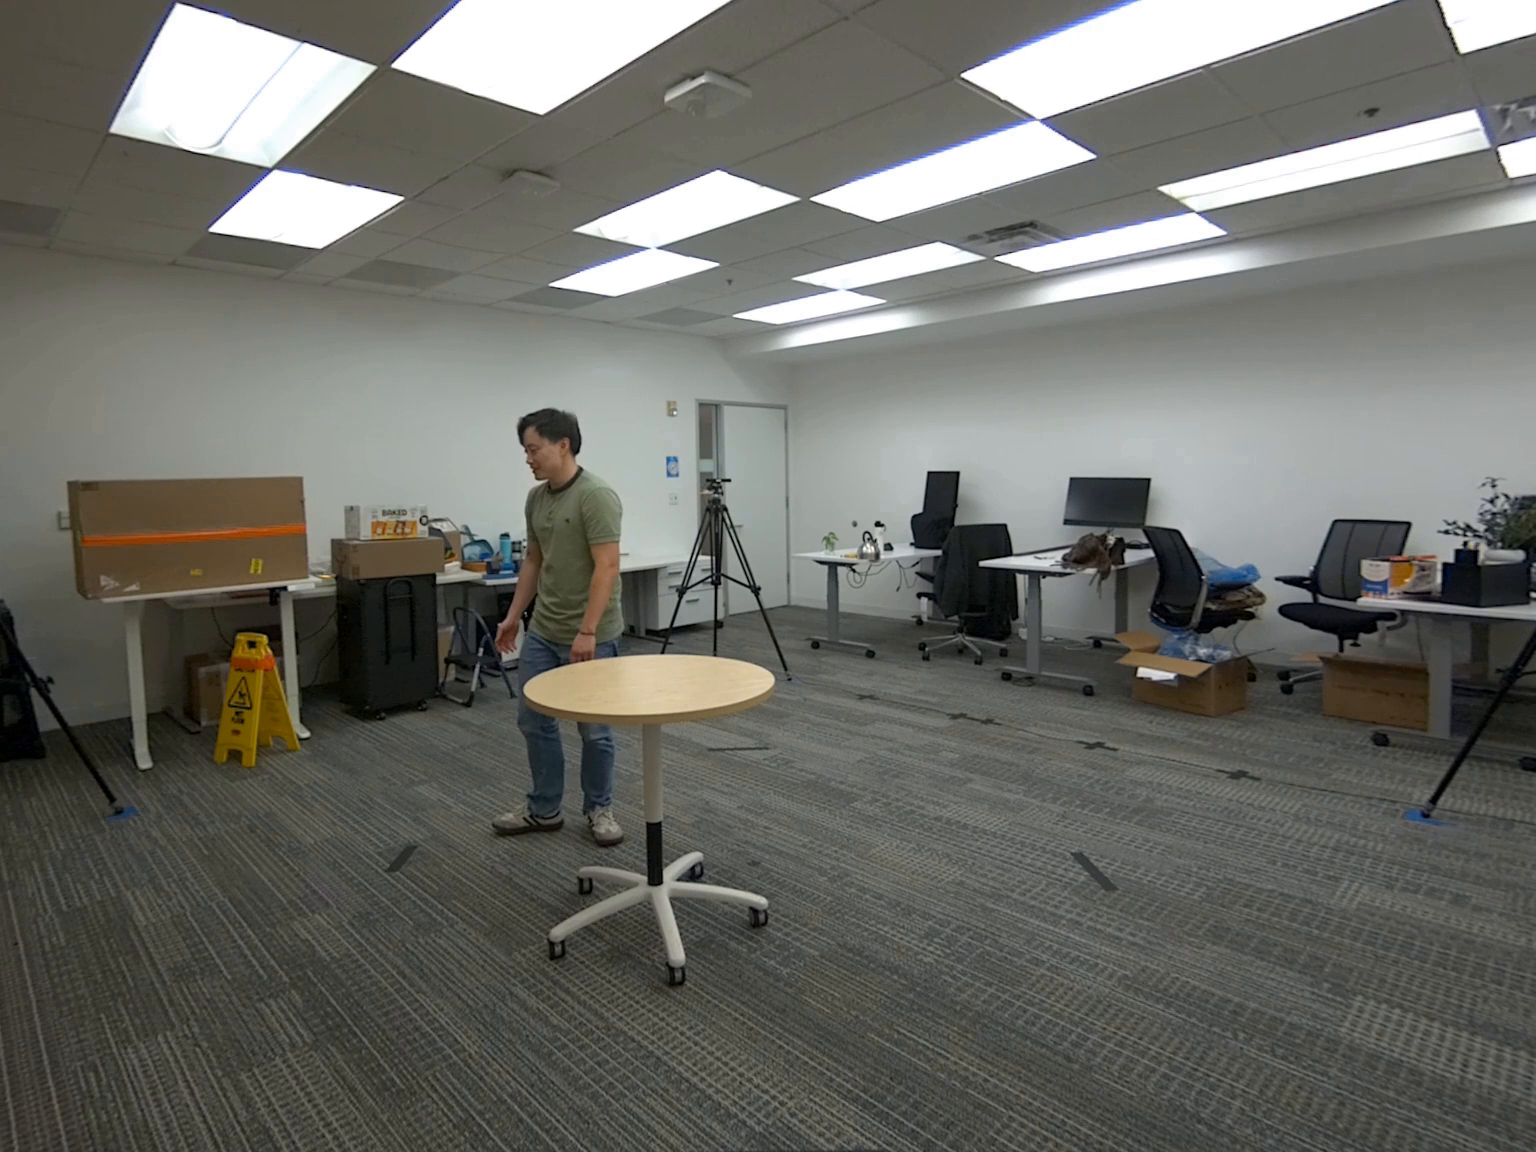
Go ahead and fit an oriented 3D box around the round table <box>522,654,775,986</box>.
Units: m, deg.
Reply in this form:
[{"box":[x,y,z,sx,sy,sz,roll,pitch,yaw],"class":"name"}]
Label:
[{"box":[-0.355,0.714,2.658,0.763,0.791,0.768,-1,5,-2],"class":"round table"}]
